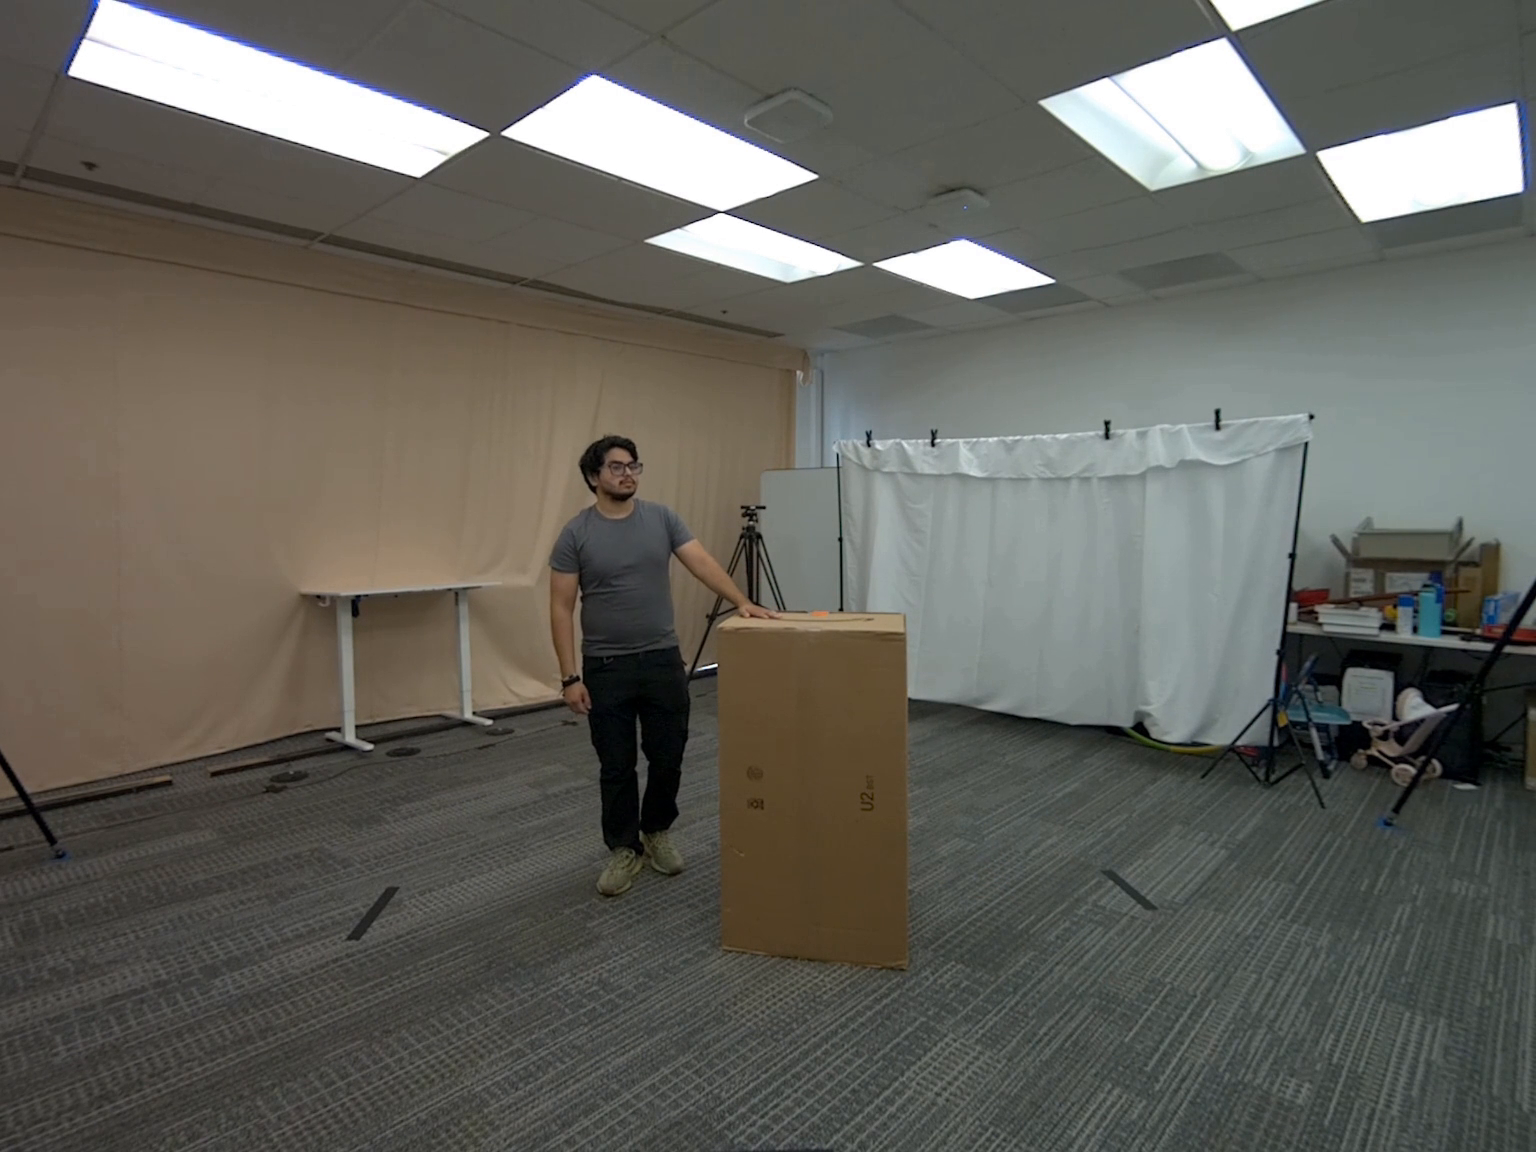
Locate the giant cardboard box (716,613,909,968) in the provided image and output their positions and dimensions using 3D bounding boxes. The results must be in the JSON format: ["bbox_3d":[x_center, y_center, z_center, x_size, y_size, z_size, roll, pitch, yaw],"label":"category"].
[{"bbox_3d":[0.167,0.650,2.761,0.585,1.024,0.421,0,3,11],"label":"giant cardboard box"}]
